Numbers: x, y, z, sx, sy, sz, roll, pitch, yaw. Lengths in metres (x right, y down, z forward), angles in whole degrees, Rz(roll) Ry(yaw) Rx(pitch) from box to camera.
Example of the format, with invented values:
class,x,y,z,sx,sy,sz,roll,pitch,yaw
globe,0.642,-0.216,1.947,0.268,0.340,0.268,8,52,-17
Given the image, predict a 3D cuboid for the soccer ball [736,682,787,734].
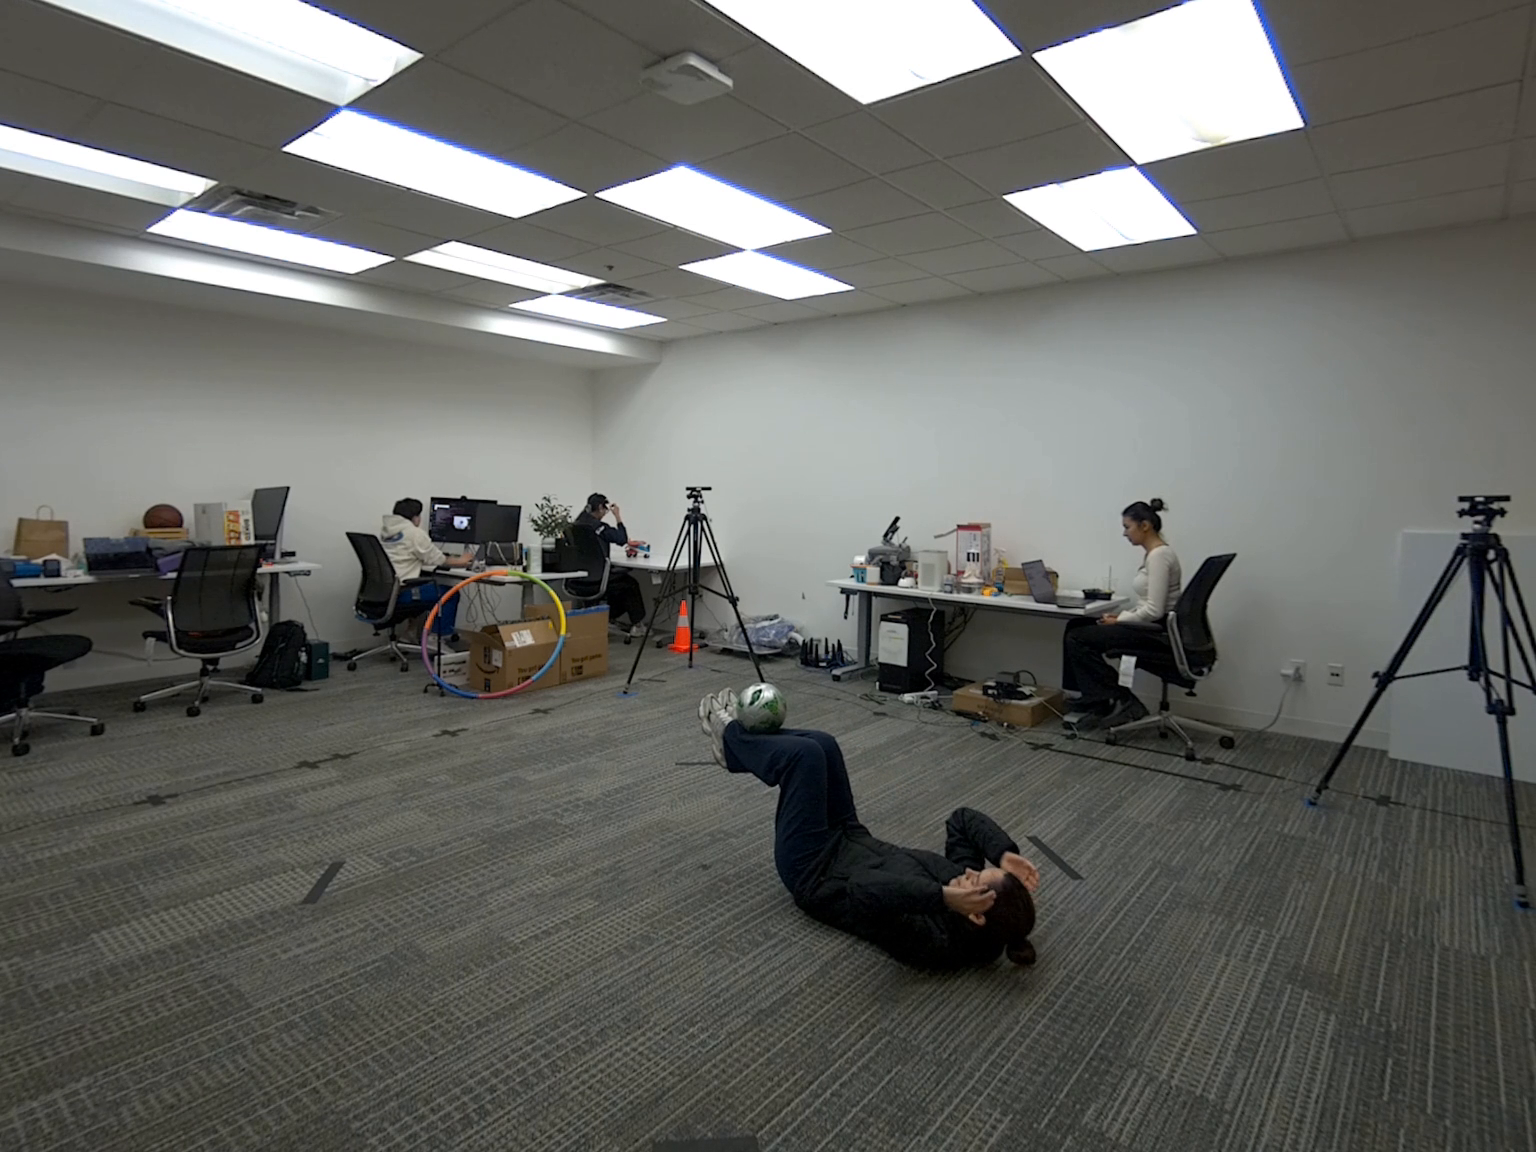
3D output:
class,x,y,z,sx,sy,sz,roll,pitch,yaw
soccer ball,-0.033,0.483,3.108,0.187,0.187,0.188,-3,3,-2
